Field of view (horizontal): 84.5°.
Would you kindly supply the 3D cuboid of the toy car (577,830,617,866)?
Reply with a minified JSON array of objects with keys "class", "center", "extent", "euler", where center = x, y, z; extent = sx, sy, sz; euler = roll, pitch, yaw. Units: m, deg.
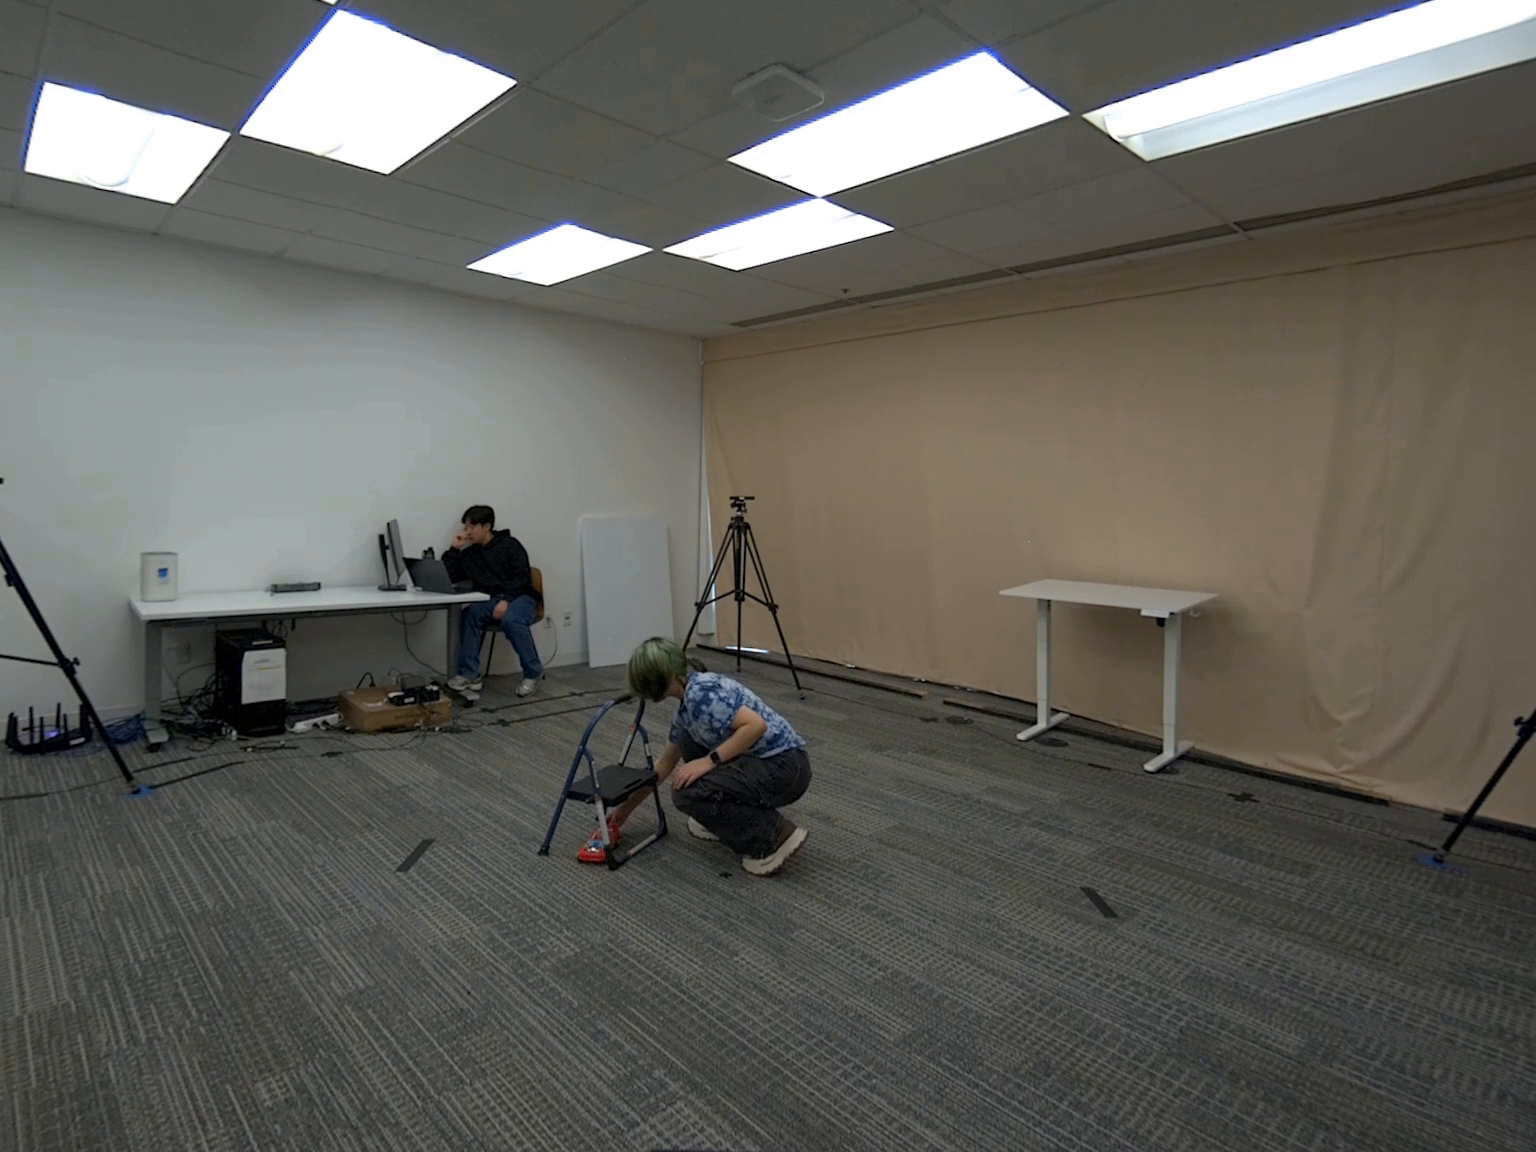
[{"class":"toy car","center":[-0.652,1.041,3.274],"extent":[0.131,0.082,0.256],"euler":[-3,16,5]}]
